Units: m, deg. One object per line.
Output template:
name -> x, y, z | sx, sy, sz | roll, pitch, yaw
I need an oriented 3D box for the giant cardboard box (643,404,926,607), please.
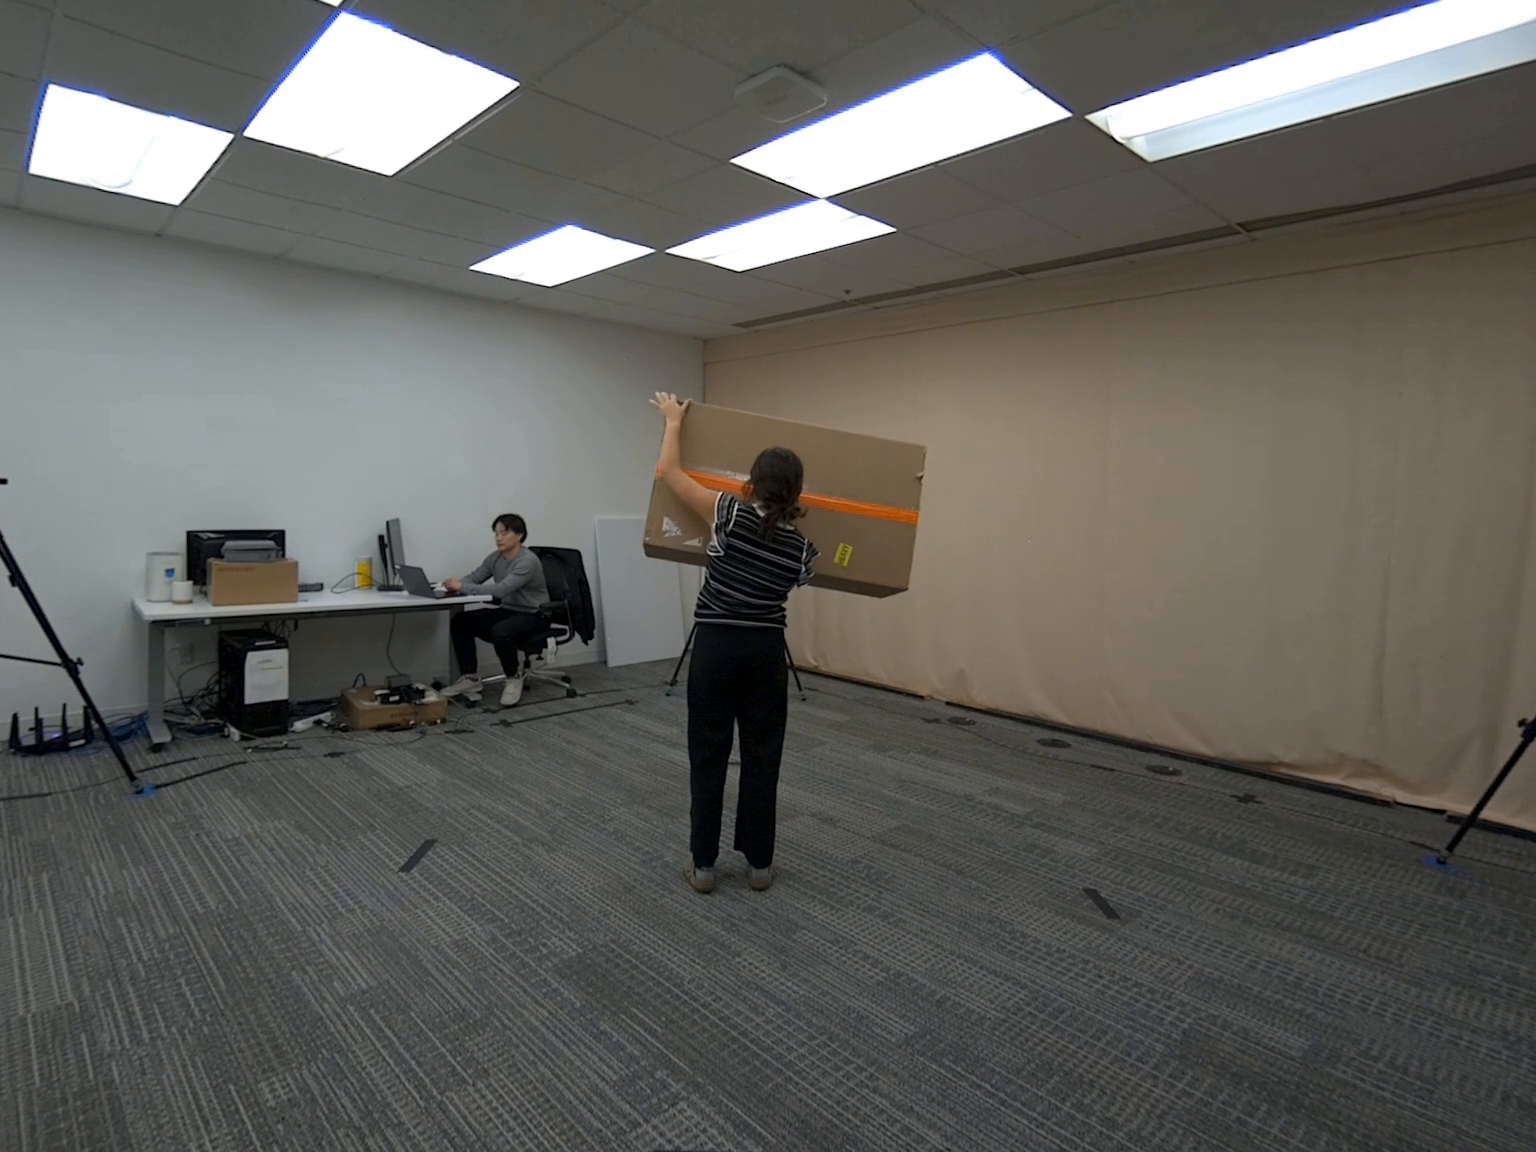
giant cardboard box -> 0.048, -0.297, 3.399 | 1.023, 0.580, 0.425 | 10, -8, -3
